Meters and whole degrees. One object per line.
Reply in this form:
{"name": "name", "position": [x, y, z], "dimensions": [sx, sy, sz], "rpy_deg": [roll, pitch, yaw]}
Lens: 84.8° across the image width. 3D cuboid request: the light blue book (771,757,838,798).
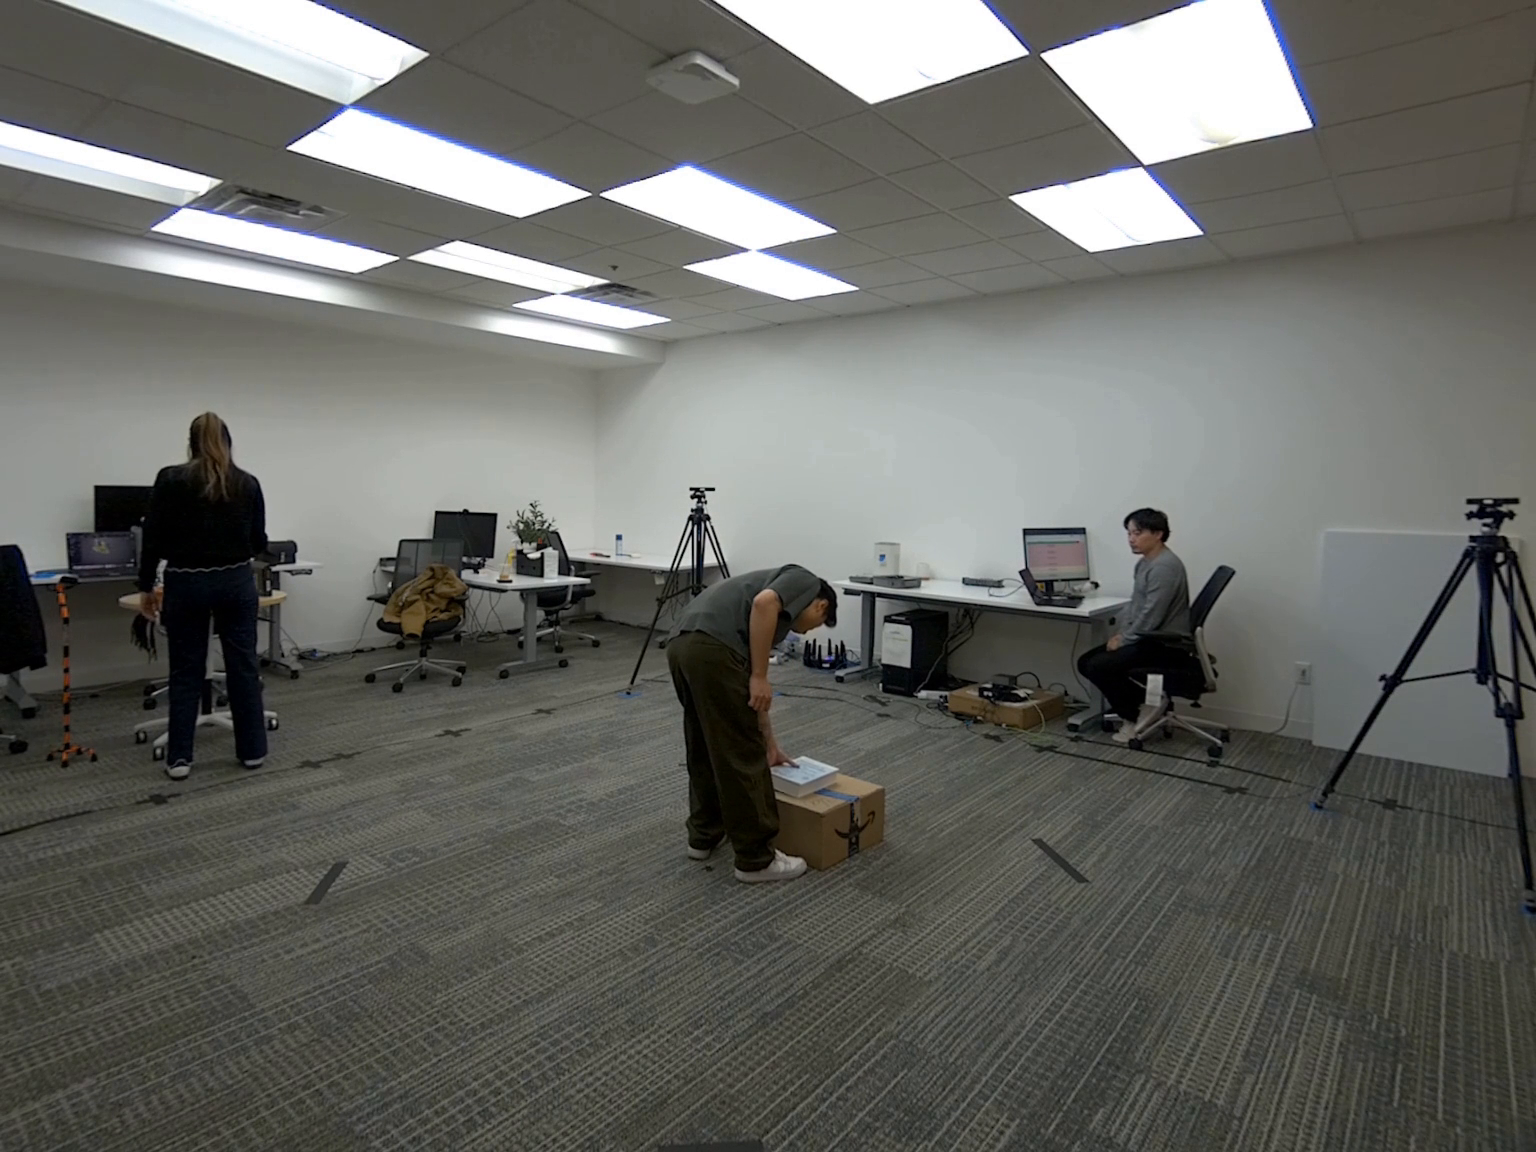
{"name": "light blue book", "position": [0.131, 0.802, 3.420], "dimensions": [0.198, 0.058, 0.253], "rpy_deg": [10, 10, 39]}
